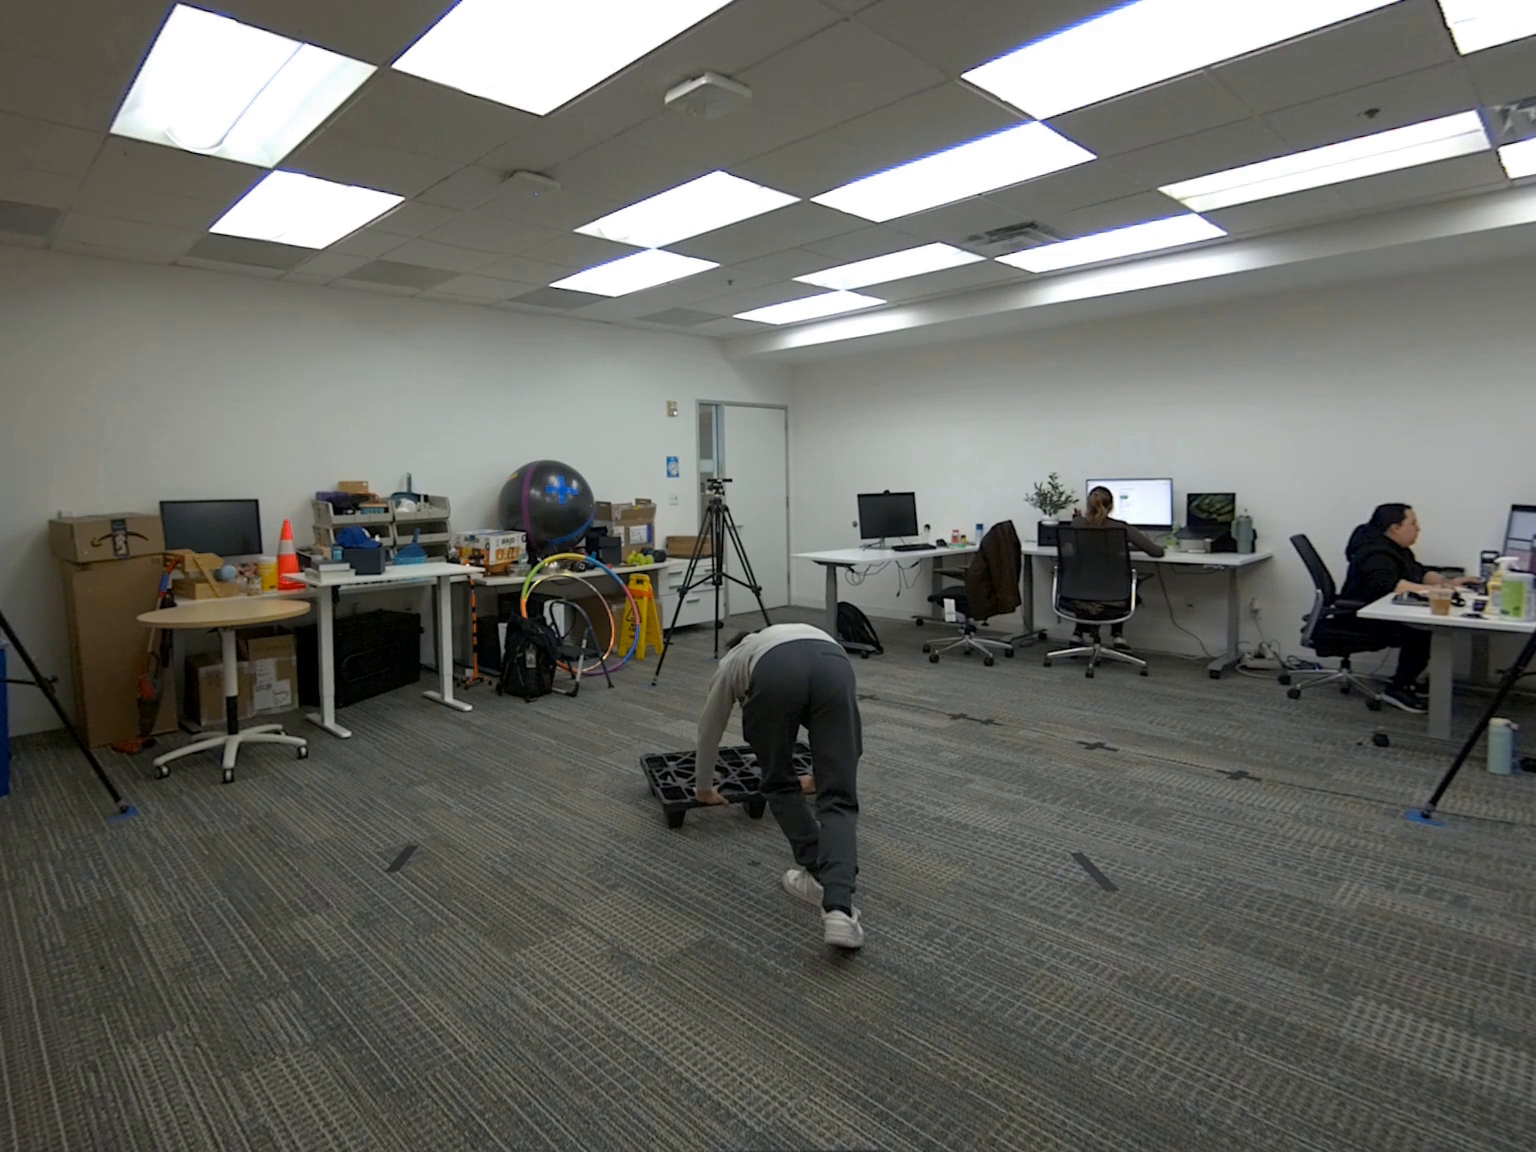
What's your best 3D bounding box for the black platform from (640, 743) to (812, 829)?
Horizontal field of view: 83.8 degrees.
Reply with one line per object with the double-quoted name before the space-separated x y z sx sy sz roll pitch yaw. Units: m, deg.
"black platform" -0.119 0.904 3.741 0.794 0.143 0.616 -3 6 -16
